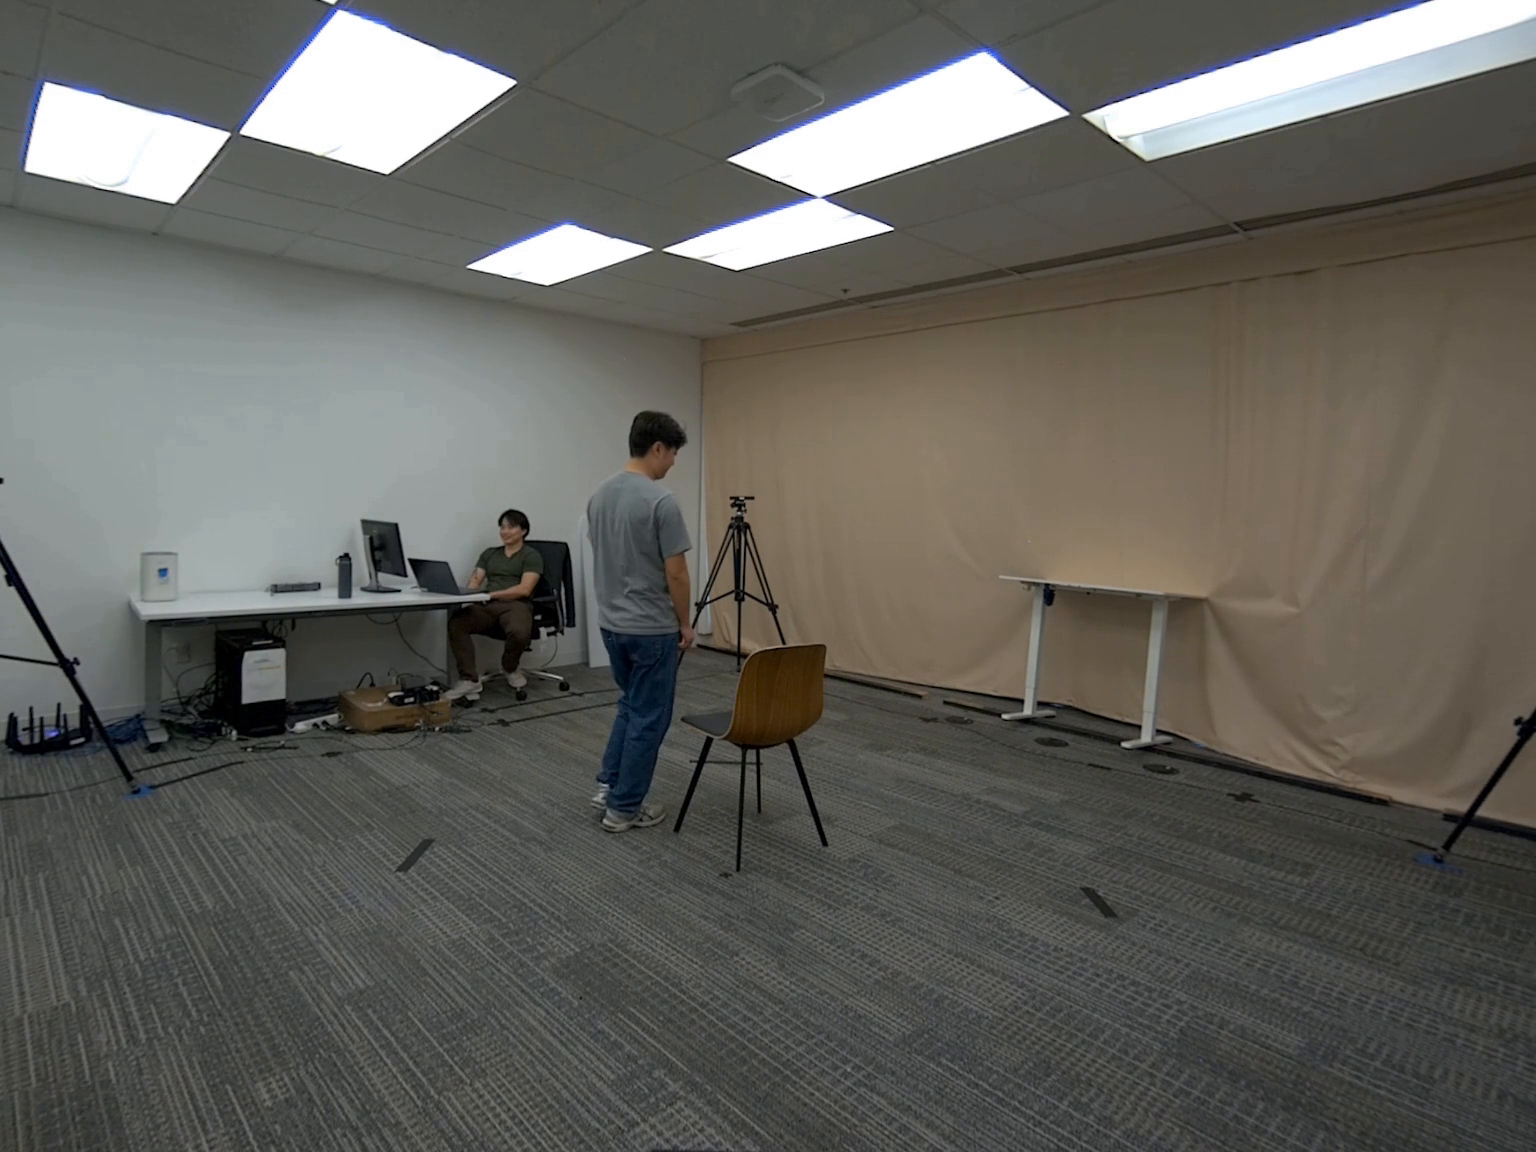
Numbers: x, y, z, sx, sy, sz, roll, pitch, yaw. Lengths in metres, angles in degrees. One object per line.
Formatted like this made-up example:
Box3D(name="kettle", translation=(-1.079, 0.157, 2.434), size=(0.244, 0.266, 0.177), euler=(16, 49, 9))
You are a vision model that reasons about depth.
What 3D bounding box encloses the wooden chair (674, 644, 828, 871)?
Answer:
Box3D(name="wooden chair", translation=(-0.072, 0.652, 3.417), size=(0.467, 0.873, 0.537), euler=(-1, 8, -37))
